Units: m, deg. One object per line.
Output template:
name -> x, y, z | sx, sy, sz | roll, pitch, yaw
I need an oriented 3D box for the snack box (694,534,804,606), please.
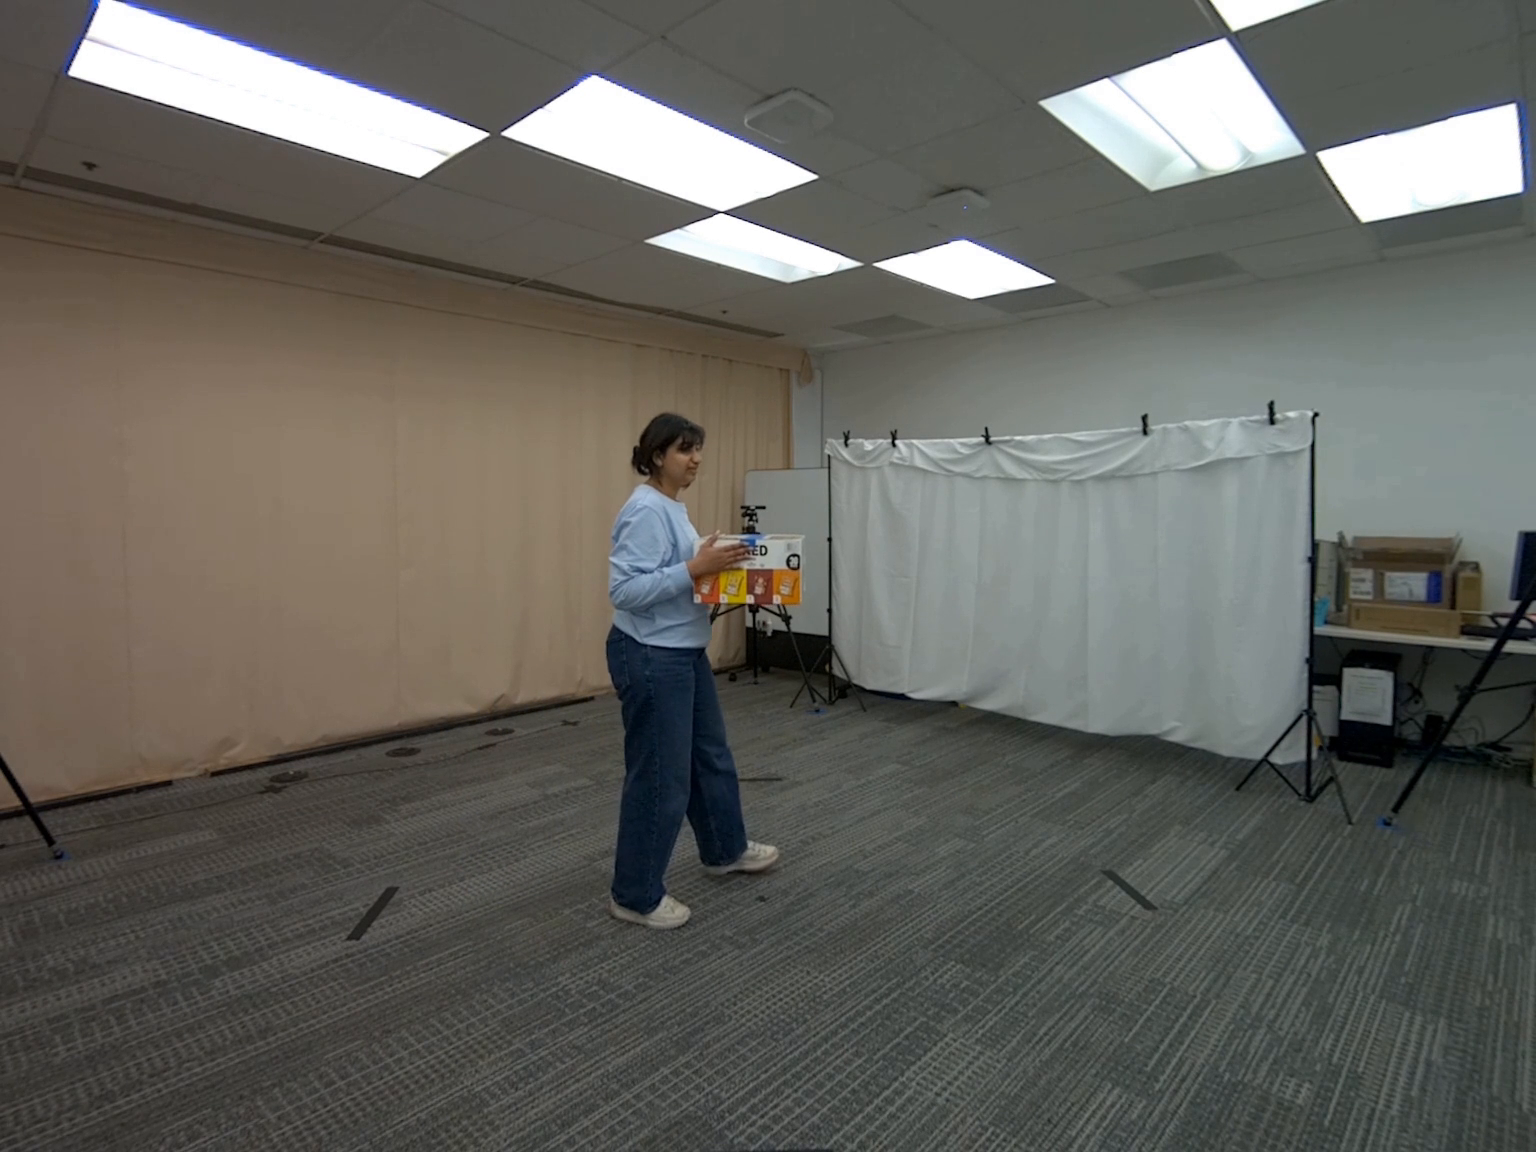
snack box -> -0.047, -0.030, 2.821 | 0.343, 0.205, 0.403 | 0, 4, 6
